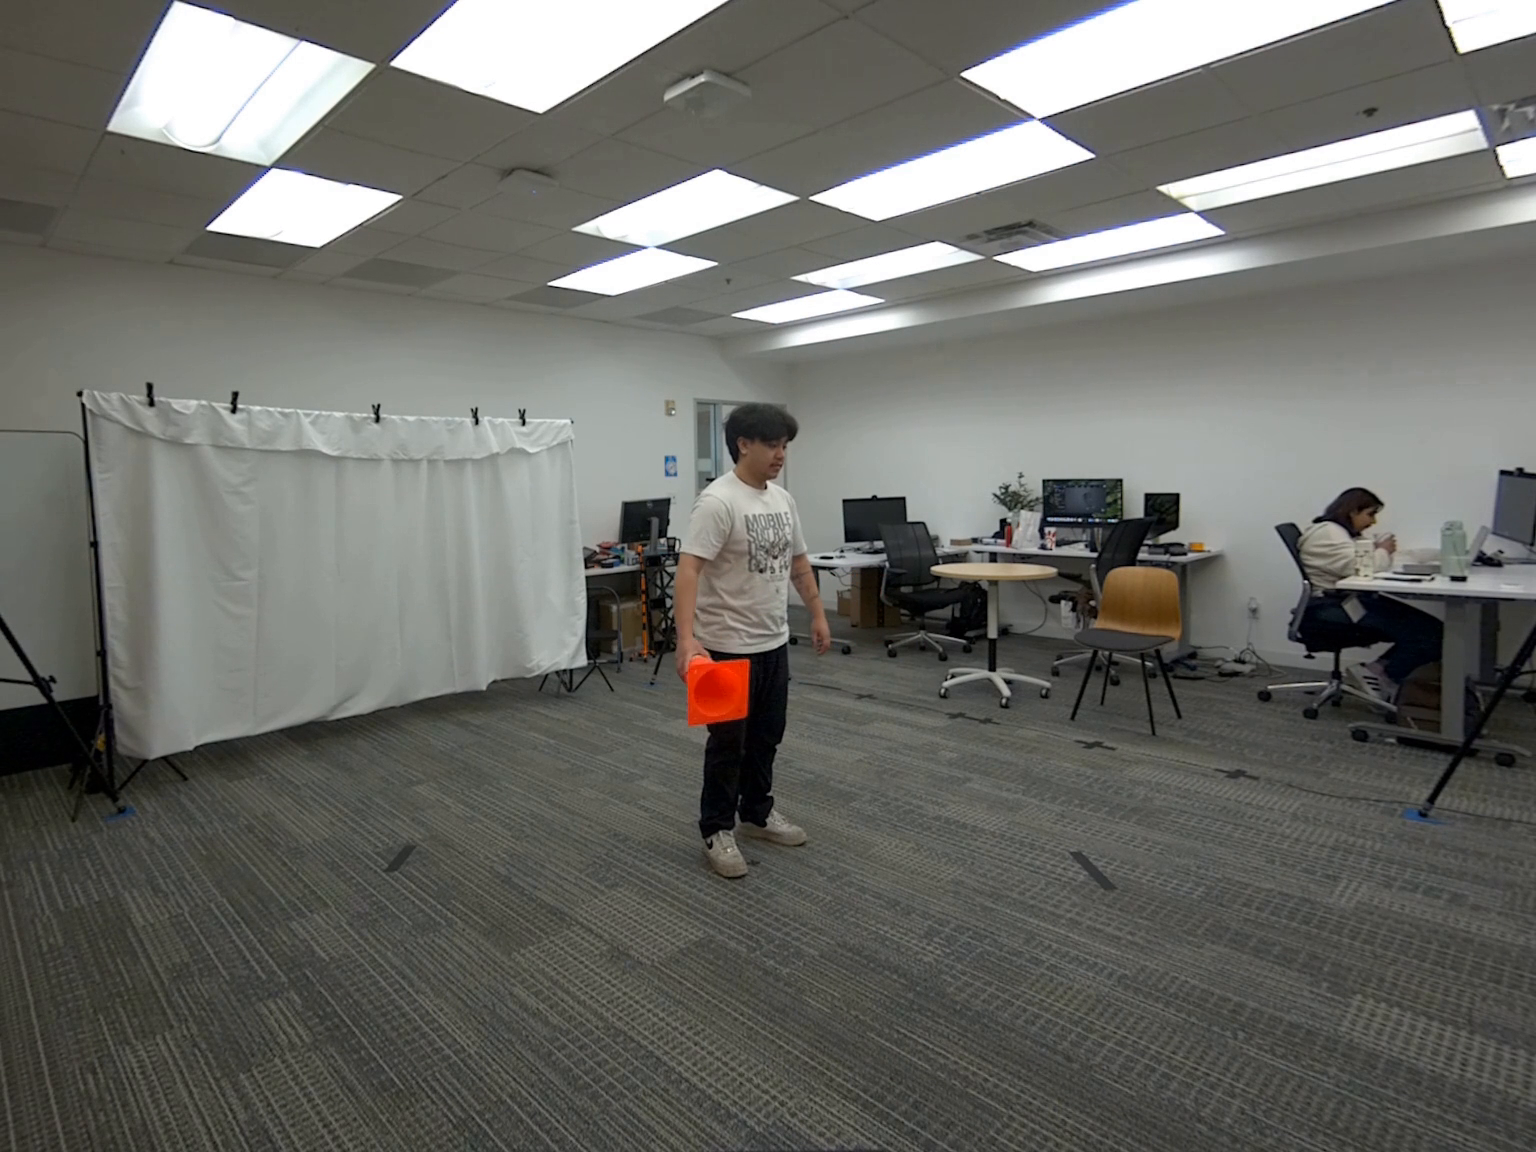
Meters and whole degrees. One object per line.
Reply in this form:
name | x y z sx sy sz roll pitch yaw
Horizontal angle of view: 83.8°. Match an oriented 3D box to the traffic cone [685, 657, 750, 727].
traffic cone | -0.214 0.316 2.793 0.200 0.203 0.395 -4 14 -21
